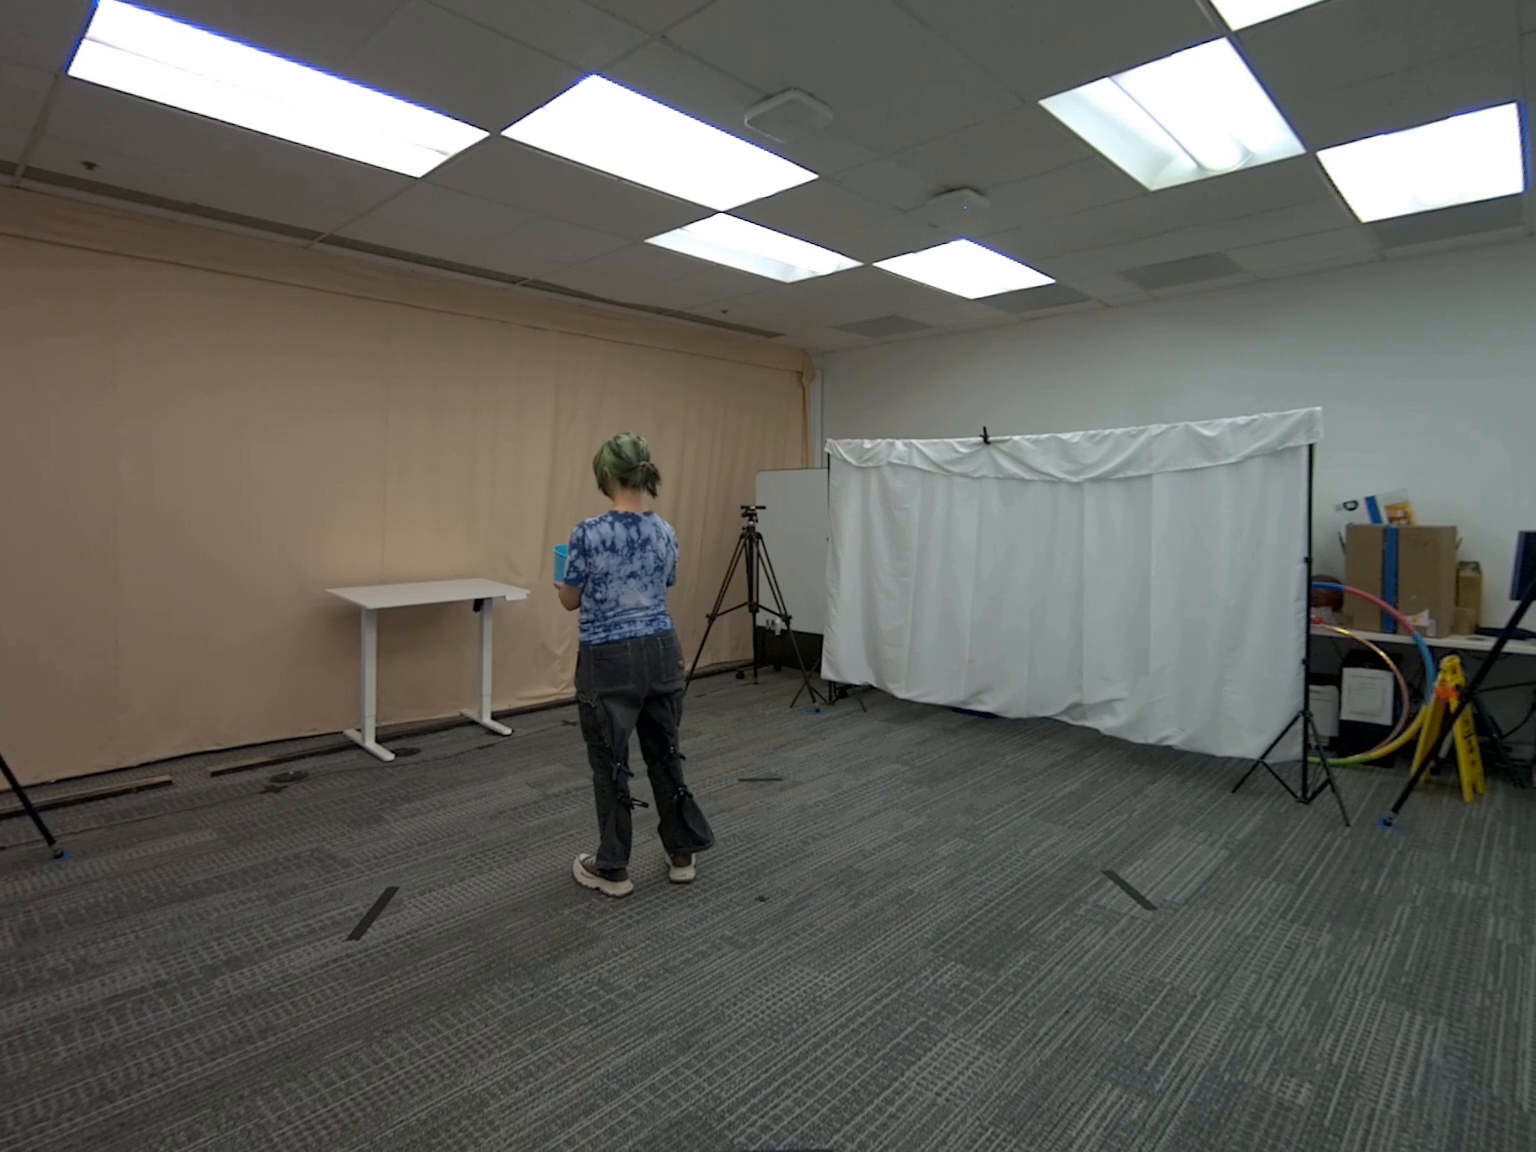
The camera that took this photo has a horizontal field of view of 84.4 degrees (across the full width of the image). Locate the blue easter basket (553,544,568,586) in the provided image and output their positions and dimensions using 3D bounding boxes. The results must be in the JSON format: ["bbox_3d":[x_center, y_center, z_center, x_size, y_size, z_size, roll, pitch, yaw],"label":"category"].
[{"bbox_3d":[-0.770,-0.018,3.391,0.243,0.155,0.246,9,13,-4],"label":"blue easter basket"}]
